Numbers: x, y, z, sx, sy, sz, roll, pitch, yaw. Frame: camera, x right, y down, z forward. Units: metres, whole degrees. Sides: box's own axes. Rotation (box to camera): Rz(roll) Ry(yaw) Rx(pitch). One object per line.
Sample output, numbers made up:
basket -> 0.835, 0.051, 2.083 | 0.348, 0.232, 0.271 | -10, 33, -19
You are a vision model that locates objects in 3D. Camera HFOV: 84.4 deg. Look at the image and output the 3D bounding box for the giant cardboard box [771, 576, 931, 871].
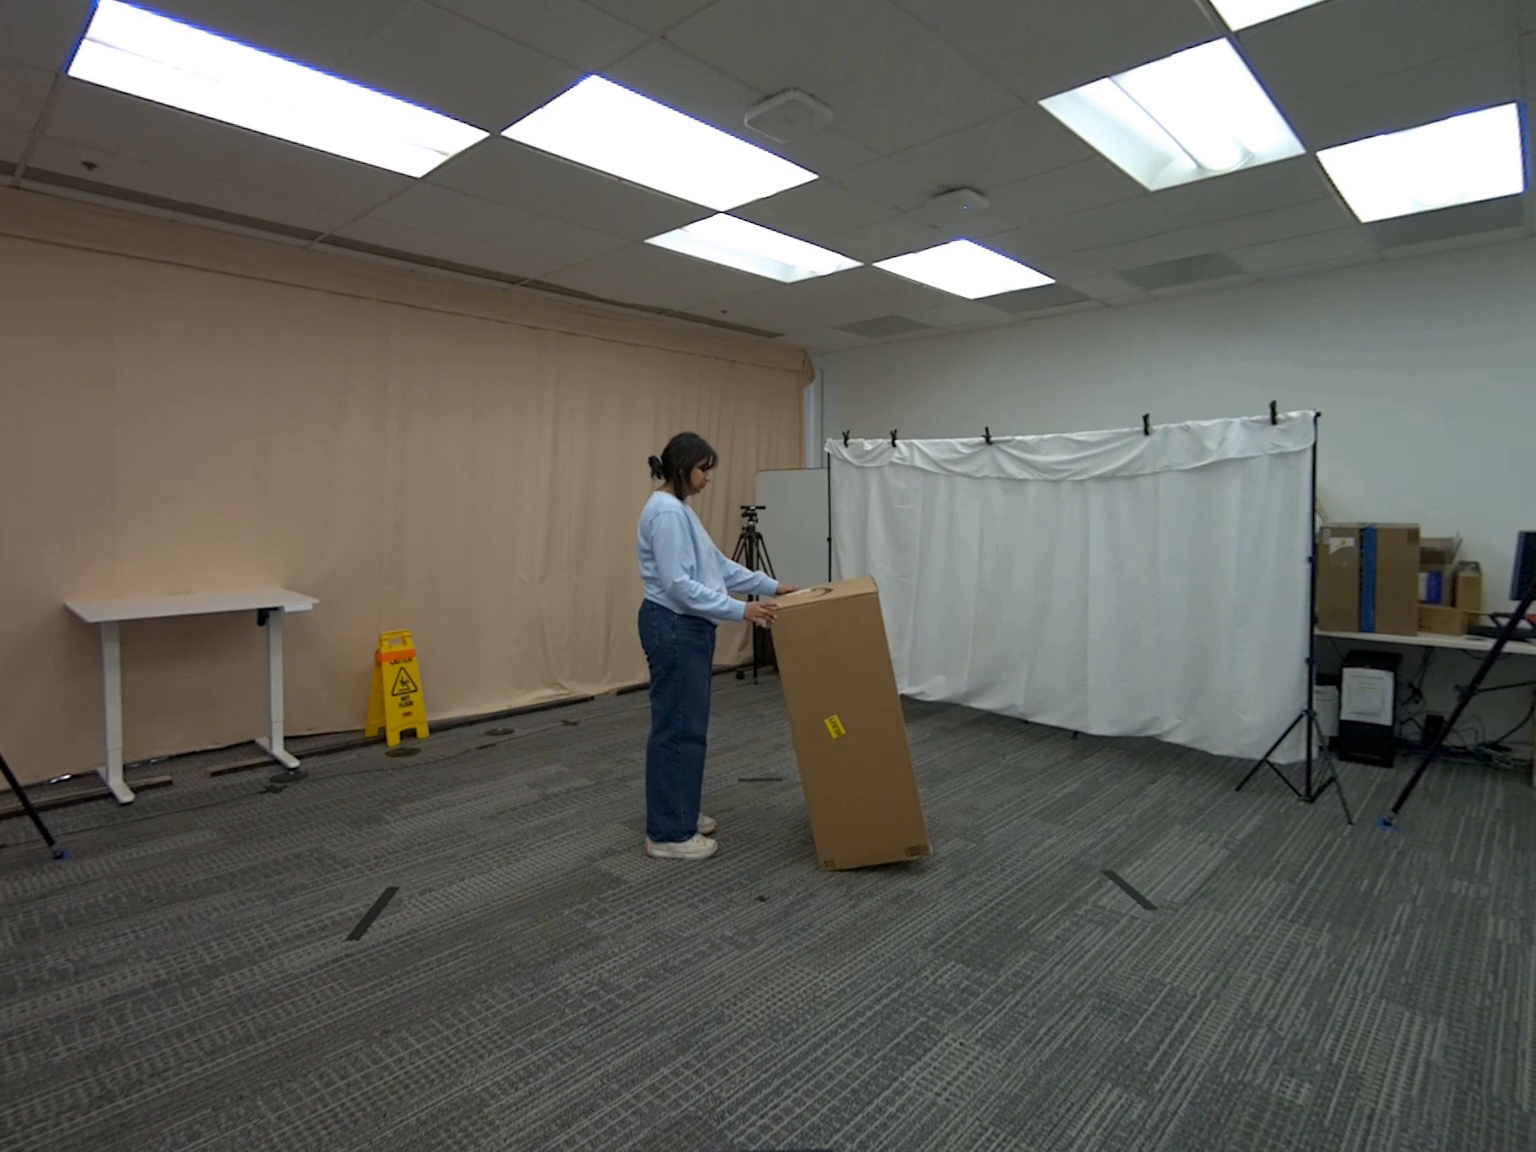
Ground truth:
giant cardboard box -> 0.322, 0.562, 3.436 | 0.450, 1.025, 0.581 | -11, 2, 7
